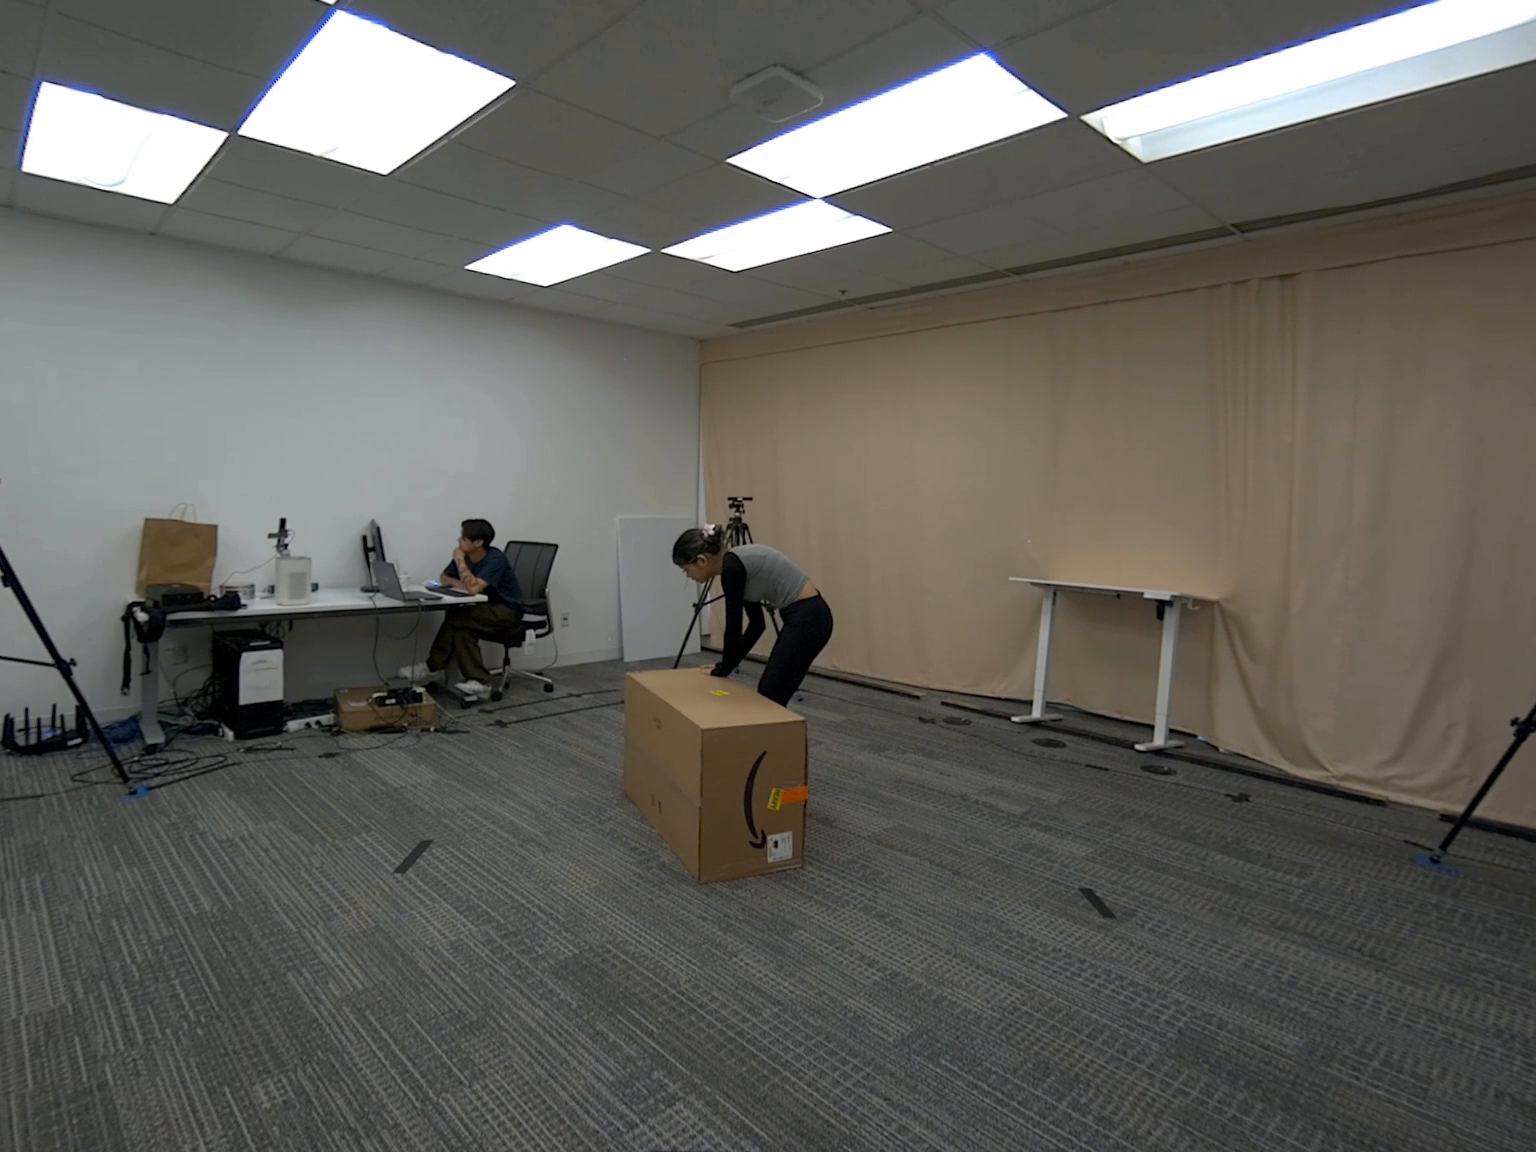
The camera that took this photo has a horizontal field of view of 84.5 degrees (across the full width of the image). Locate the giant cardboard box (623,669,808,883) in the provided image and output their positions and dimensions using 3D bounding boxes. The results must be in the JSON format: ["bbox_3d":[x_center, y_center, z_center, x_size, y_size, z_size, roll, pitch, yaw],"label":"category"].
[{"bbox_3d":[-0.273,0.779,3.554,0.439,0.582,1.048,1,4,-25],"label":"giant cardboard box"}]
